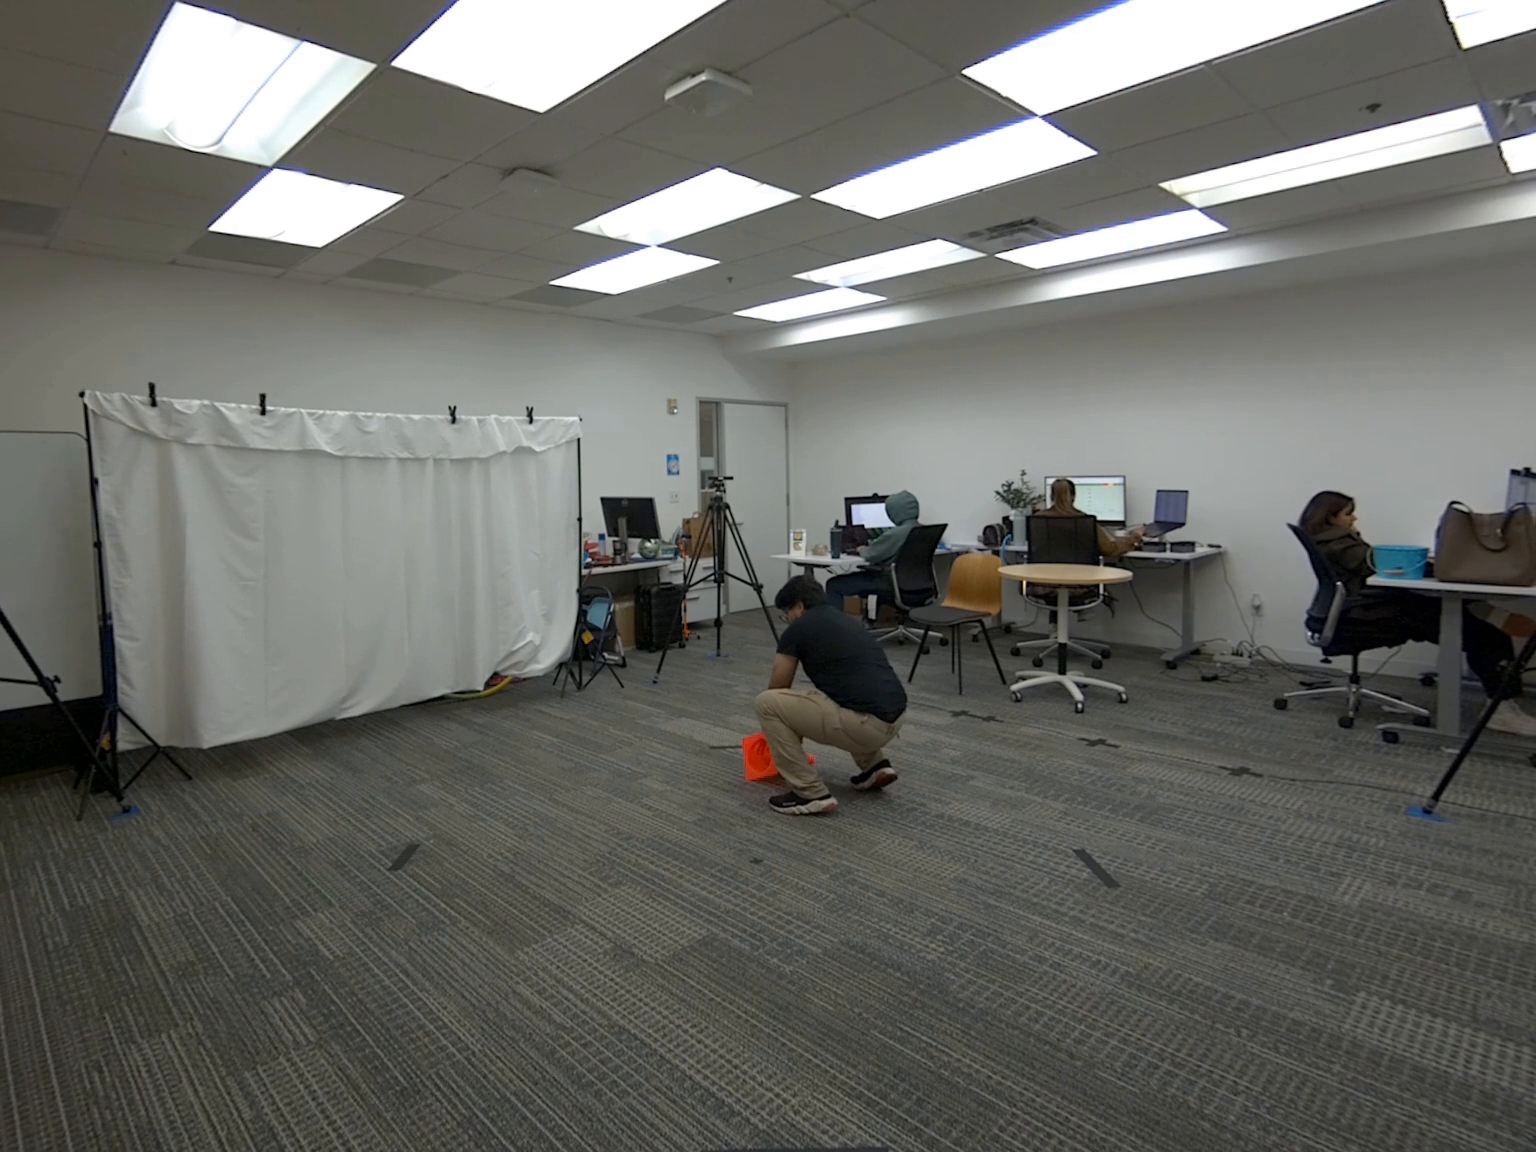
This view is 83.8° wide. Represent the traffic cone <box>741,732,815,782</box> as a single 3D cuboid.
[{"bbox_3d":[0.084,0.859,4.066,0.206,0.209,0.370,-26,-28,37],"label":"traffic cone"}]
